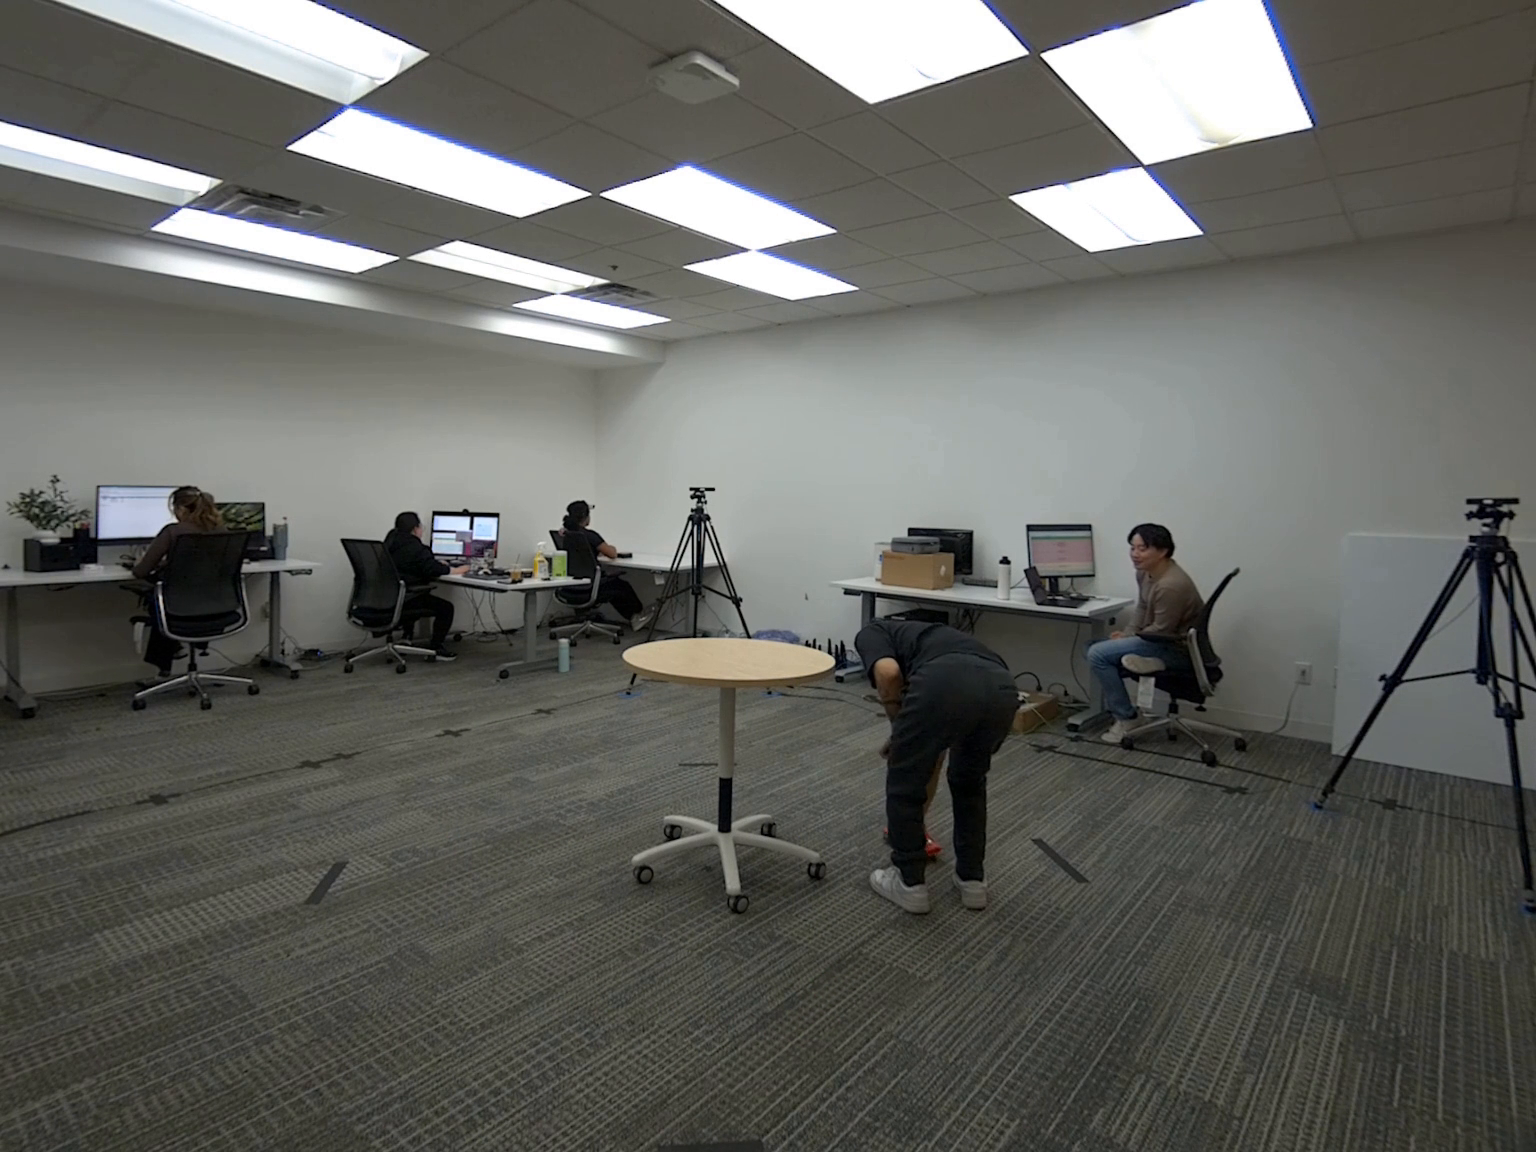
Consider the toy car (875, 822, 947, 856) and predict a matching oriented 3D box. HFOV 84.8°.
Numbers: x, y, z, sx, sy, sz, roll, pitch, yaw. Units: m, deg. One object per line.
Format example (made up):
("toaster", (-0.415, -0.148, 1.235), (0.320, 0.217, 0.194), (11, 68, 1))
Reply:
("toy car", (0.558, 1.031, 3.312), (0.127, 0.084, 0.260), (-1, -4, -30))
